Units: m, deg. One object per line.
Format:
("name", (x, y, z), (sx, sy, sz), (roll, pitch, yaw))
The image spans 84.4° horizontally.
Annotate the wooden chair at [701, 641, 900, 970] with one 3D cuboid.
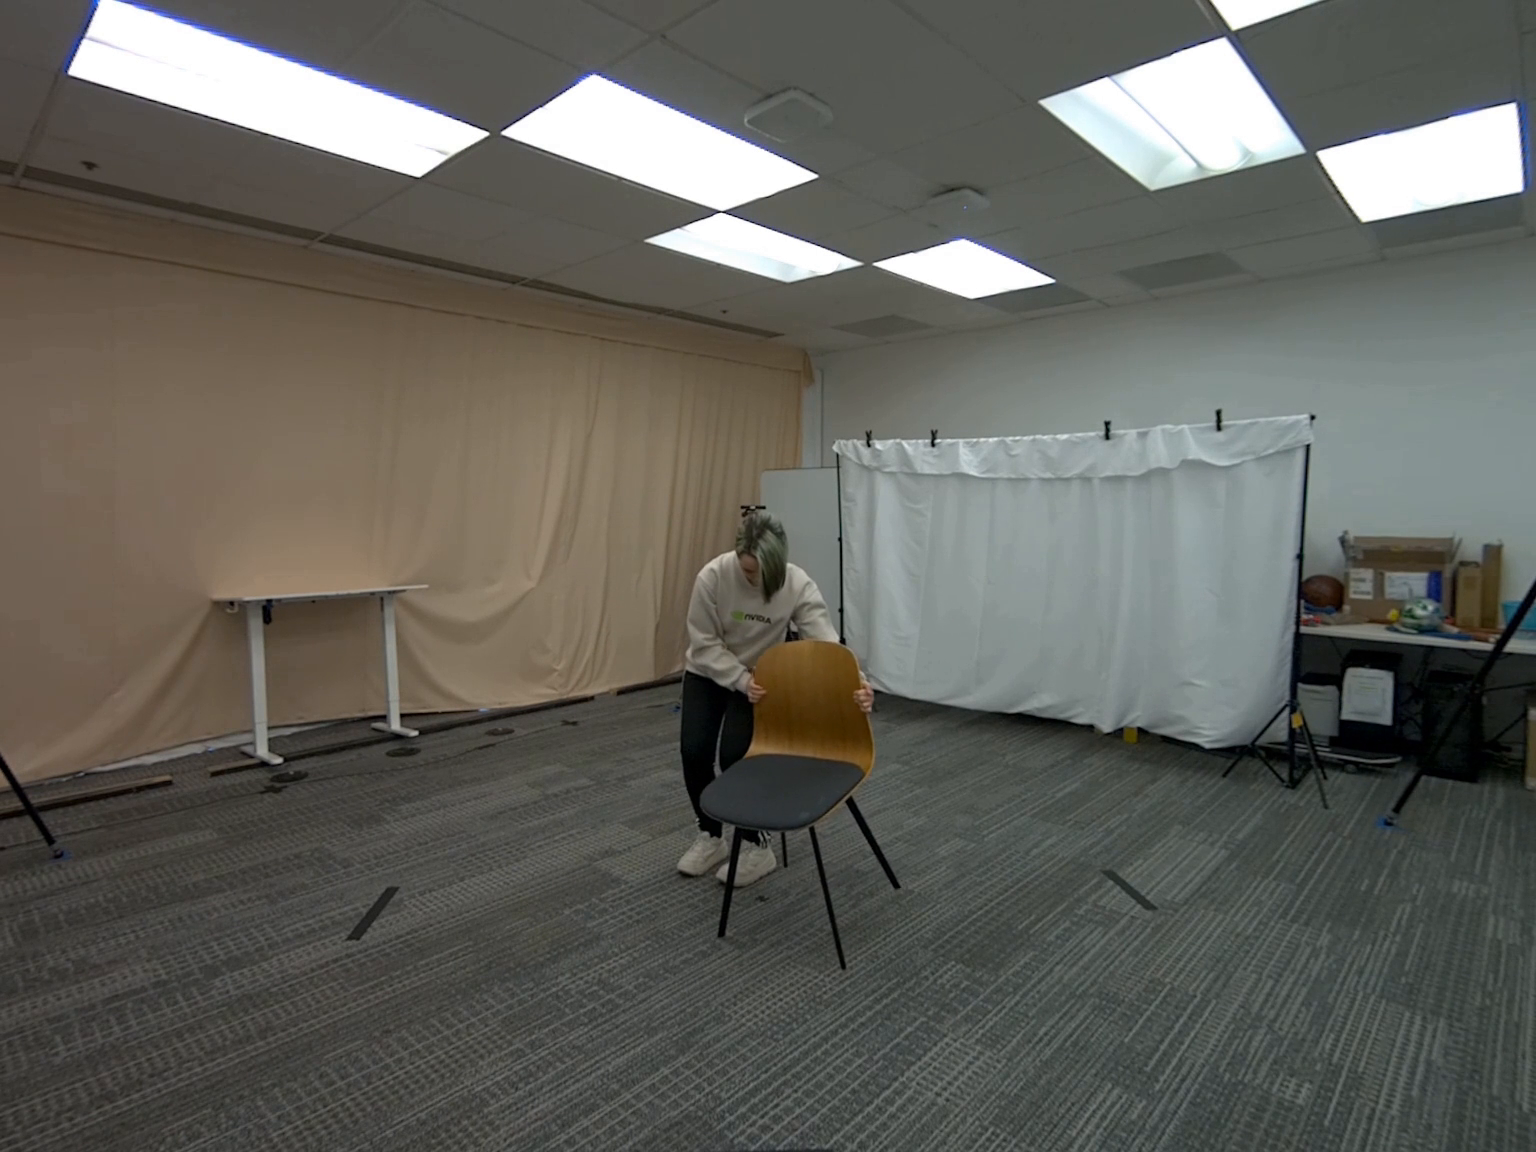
("wooden chair", (0.083, 0.702, 2.694), (0.492, 0.874, 0.510), (-3, 6, 33))
